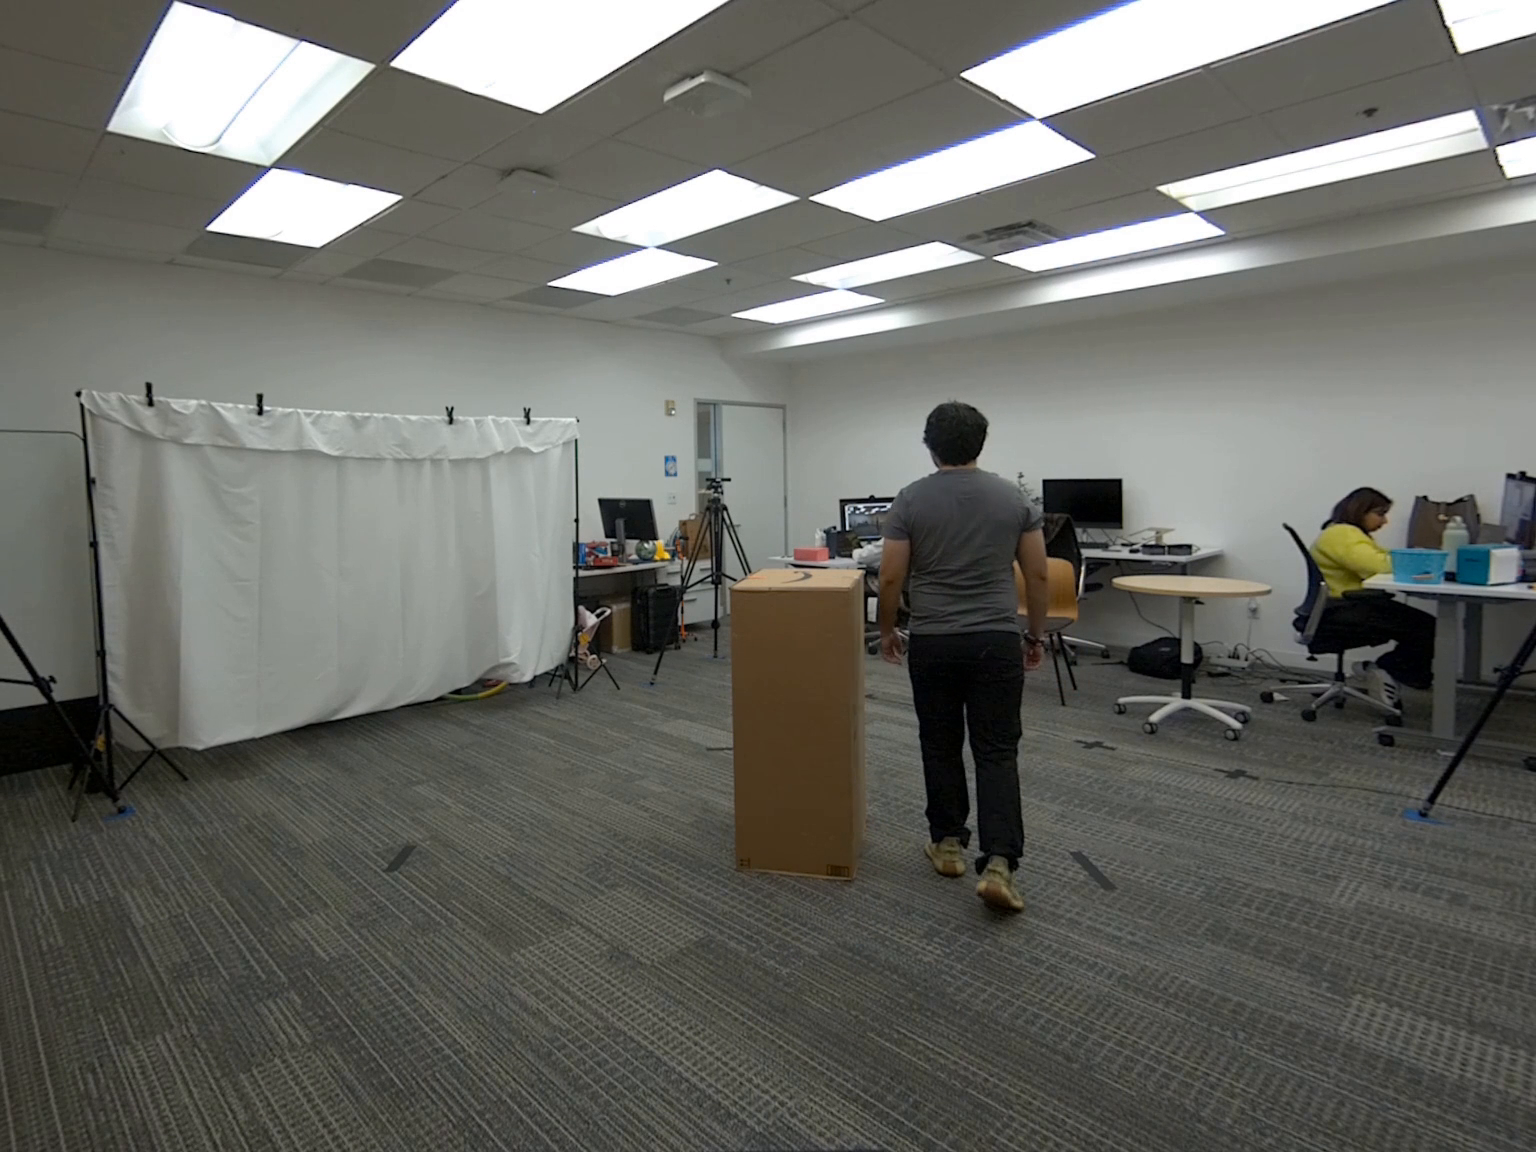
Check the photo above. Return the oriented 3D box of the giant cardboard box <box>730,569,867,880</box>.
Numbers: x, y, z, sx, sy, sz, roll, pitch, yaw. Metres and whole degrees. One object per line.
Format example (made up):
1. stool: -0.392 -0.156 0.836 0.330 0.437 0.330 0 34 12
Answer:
1. giant cardboard box: 0.128 0.510 3.242 0.432 1.022 0.572 0 5 13
